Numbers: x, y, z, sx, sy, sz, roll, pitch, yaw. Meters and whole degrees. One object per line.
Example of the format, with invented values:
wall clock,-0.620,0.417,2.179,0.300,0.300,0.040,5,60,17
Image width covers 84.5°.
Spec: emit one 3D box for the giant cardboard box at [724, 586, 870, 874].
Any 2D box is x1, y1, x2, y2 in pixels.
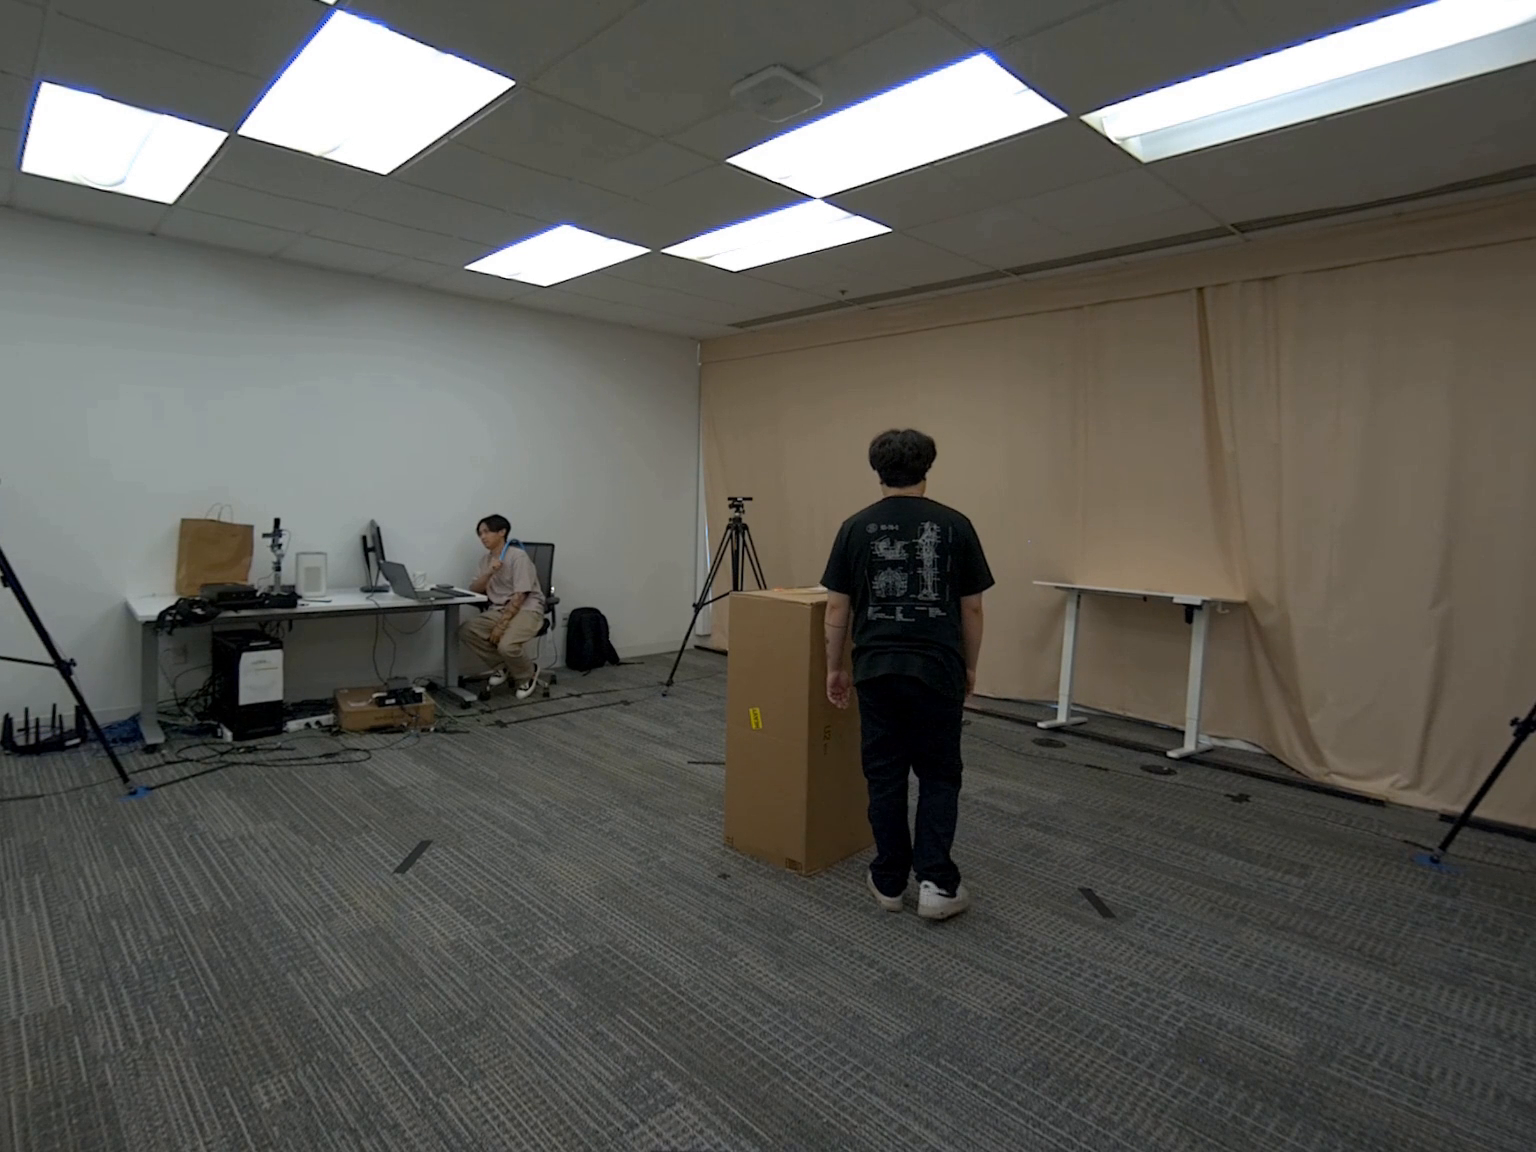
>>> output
giant cardboard box,0.171,0.578,3.438,0.458,1.025,0.570,3,3,44
